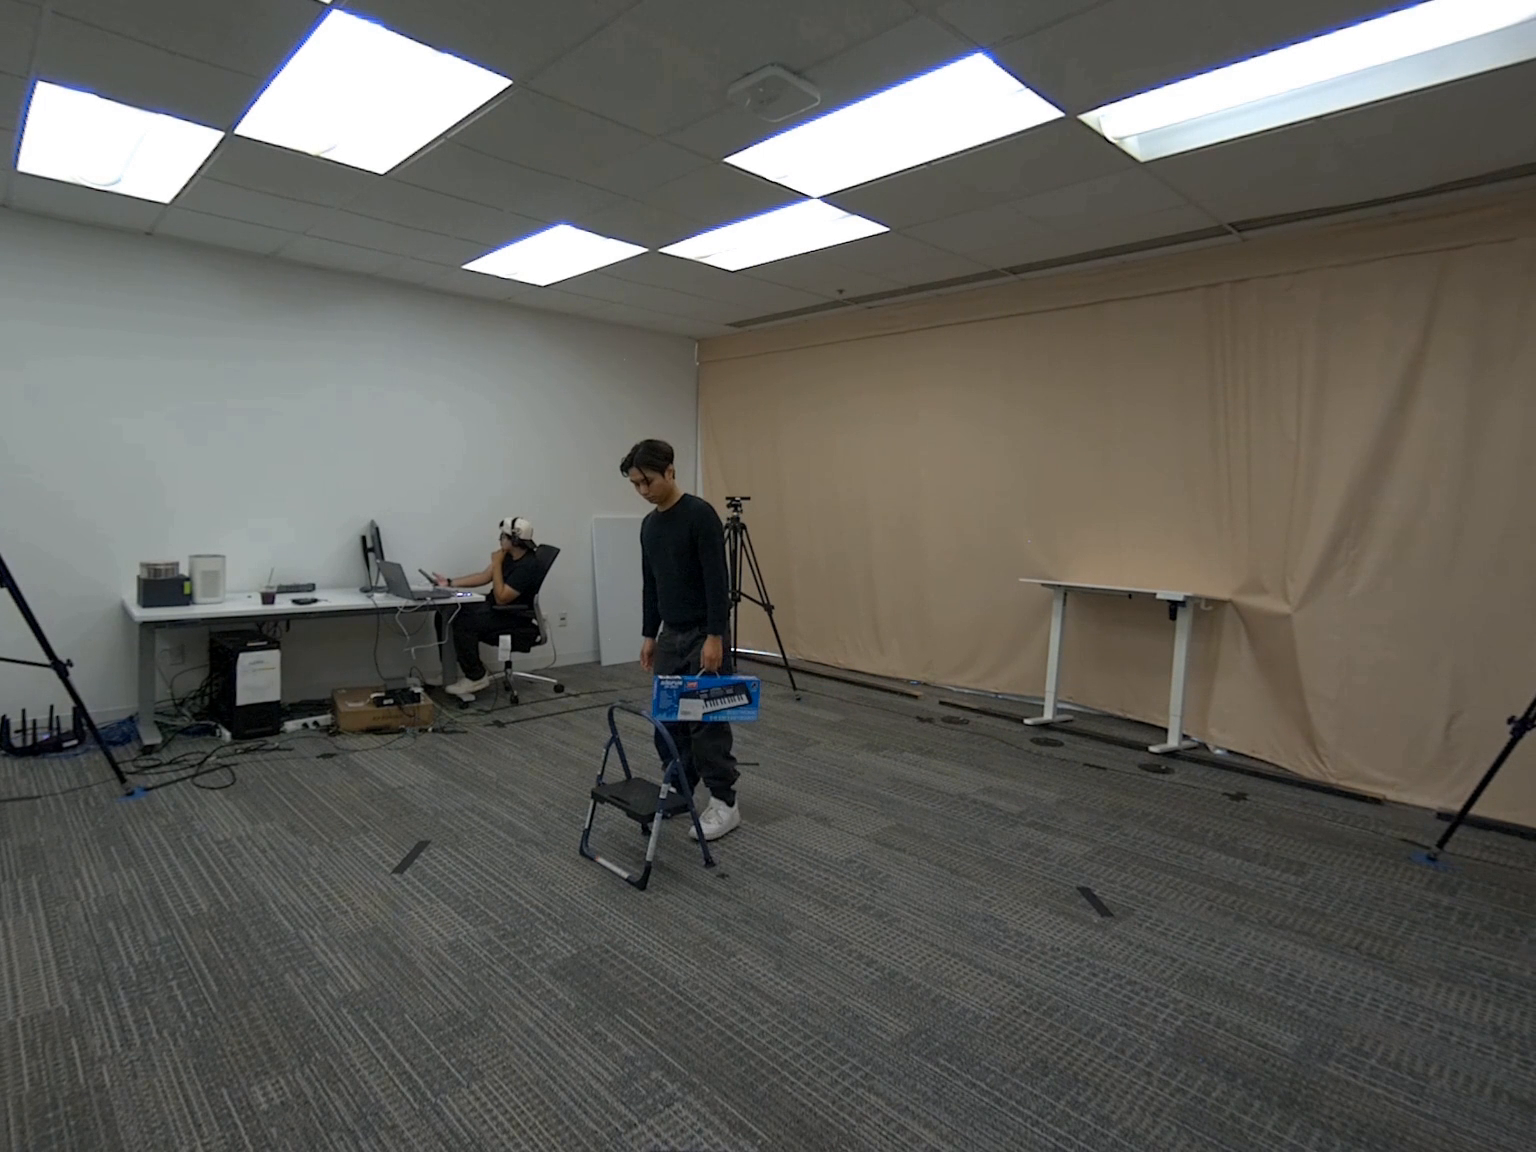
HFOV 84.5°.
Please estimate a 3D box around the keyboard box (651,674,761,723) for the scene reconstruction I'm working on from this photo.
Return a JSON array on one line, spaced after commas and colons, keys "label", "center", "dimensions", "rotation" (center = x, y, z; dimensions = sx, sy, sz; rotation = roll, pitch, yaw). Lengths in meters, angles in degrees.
[{"label": "keyboard box", "center": [-0.255, 0.495, 3.377], "dimensions": [0.430, 0.175, 0.060], "rotation": [3, 3, -21]}]
